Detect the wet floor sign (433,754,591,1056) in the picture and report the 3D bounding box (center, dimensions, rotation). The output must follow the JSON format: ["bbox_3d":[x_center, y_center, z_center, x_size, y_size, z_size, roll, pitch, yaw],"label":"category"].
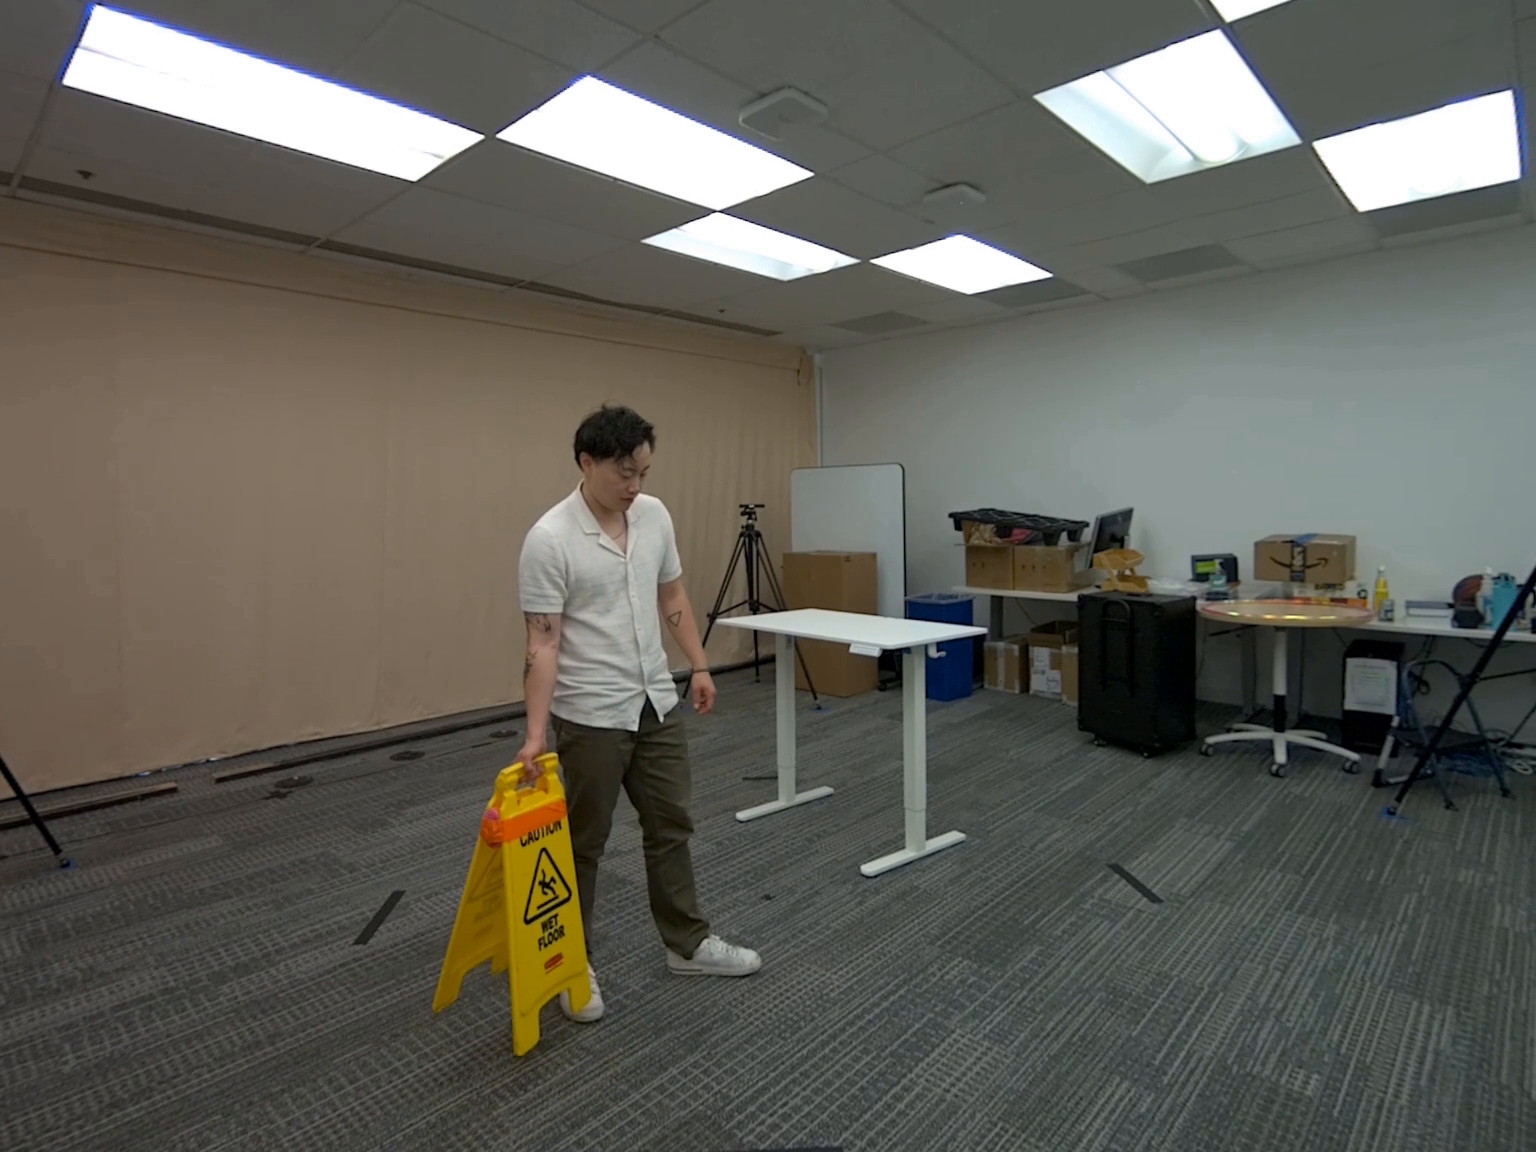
[{"bbox_3d":[-0.628,0.786,2.126,0.298,0.645,0.275,6,3,28],"label":"wet floor sign"}]
